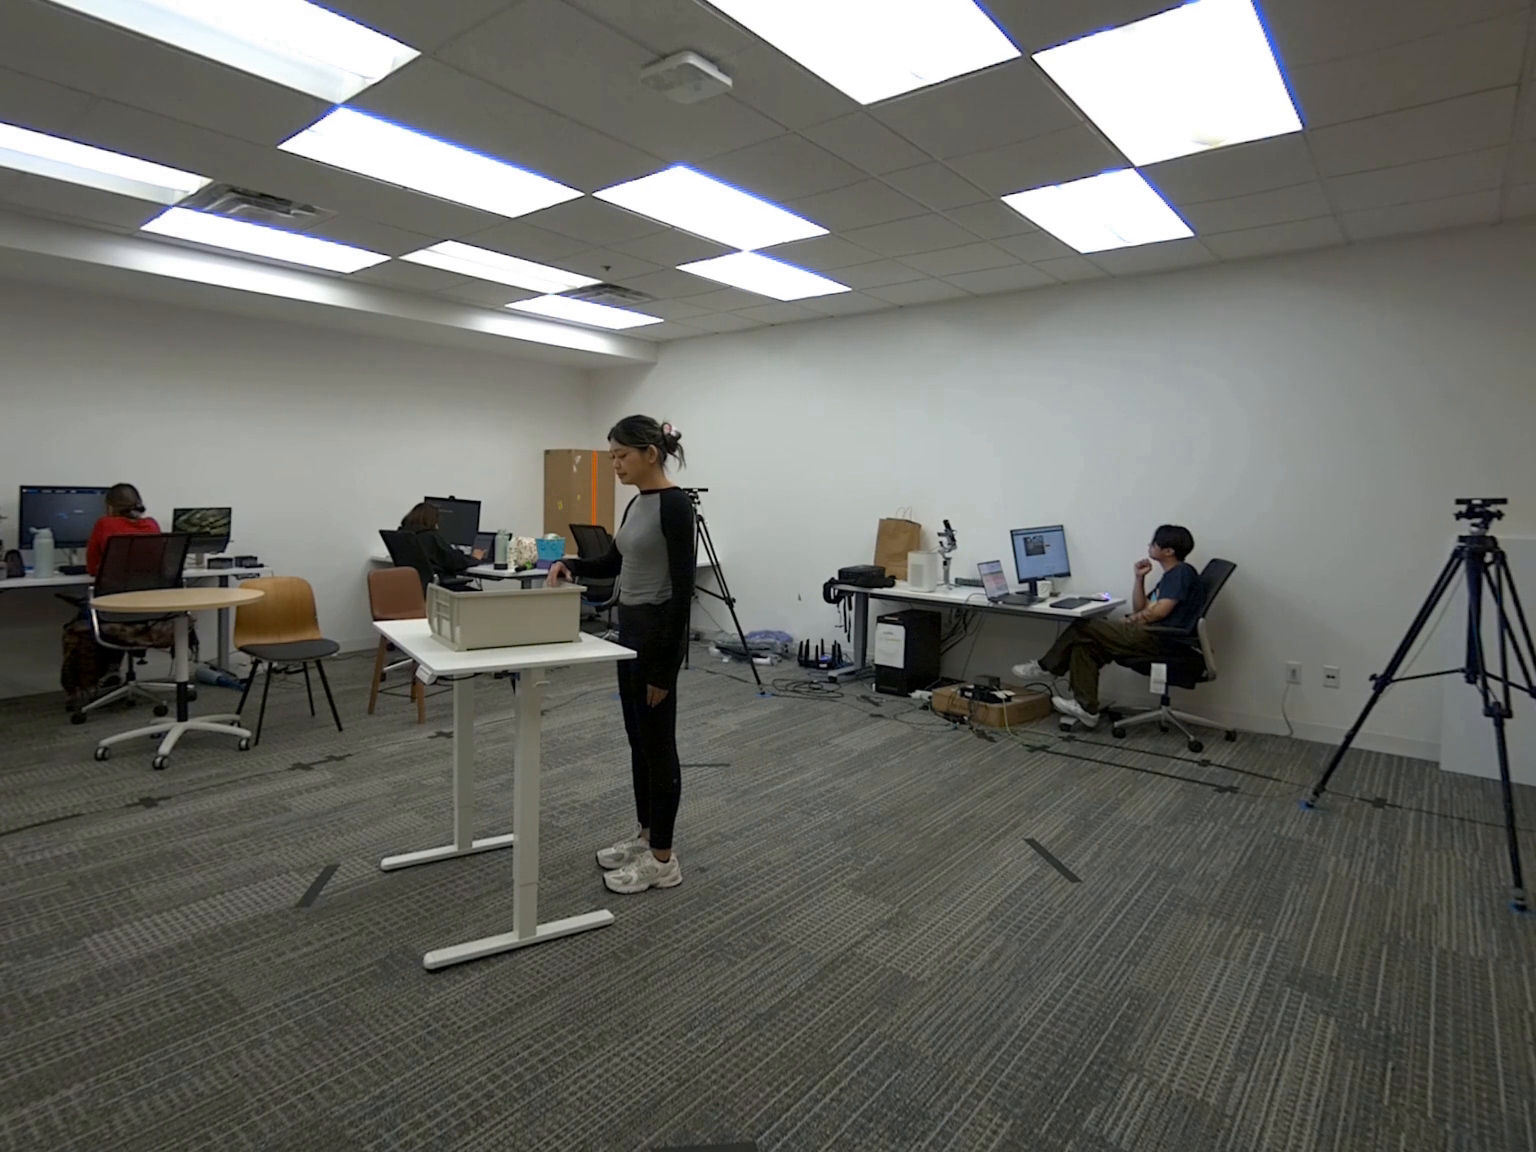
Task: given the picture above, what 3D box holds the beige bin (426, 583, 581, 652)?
[{"bbox_3d":[-0.889,0.121,2.804,0.410,0.188,0.390,-2,6,-35],"label":"beige bin"}]
